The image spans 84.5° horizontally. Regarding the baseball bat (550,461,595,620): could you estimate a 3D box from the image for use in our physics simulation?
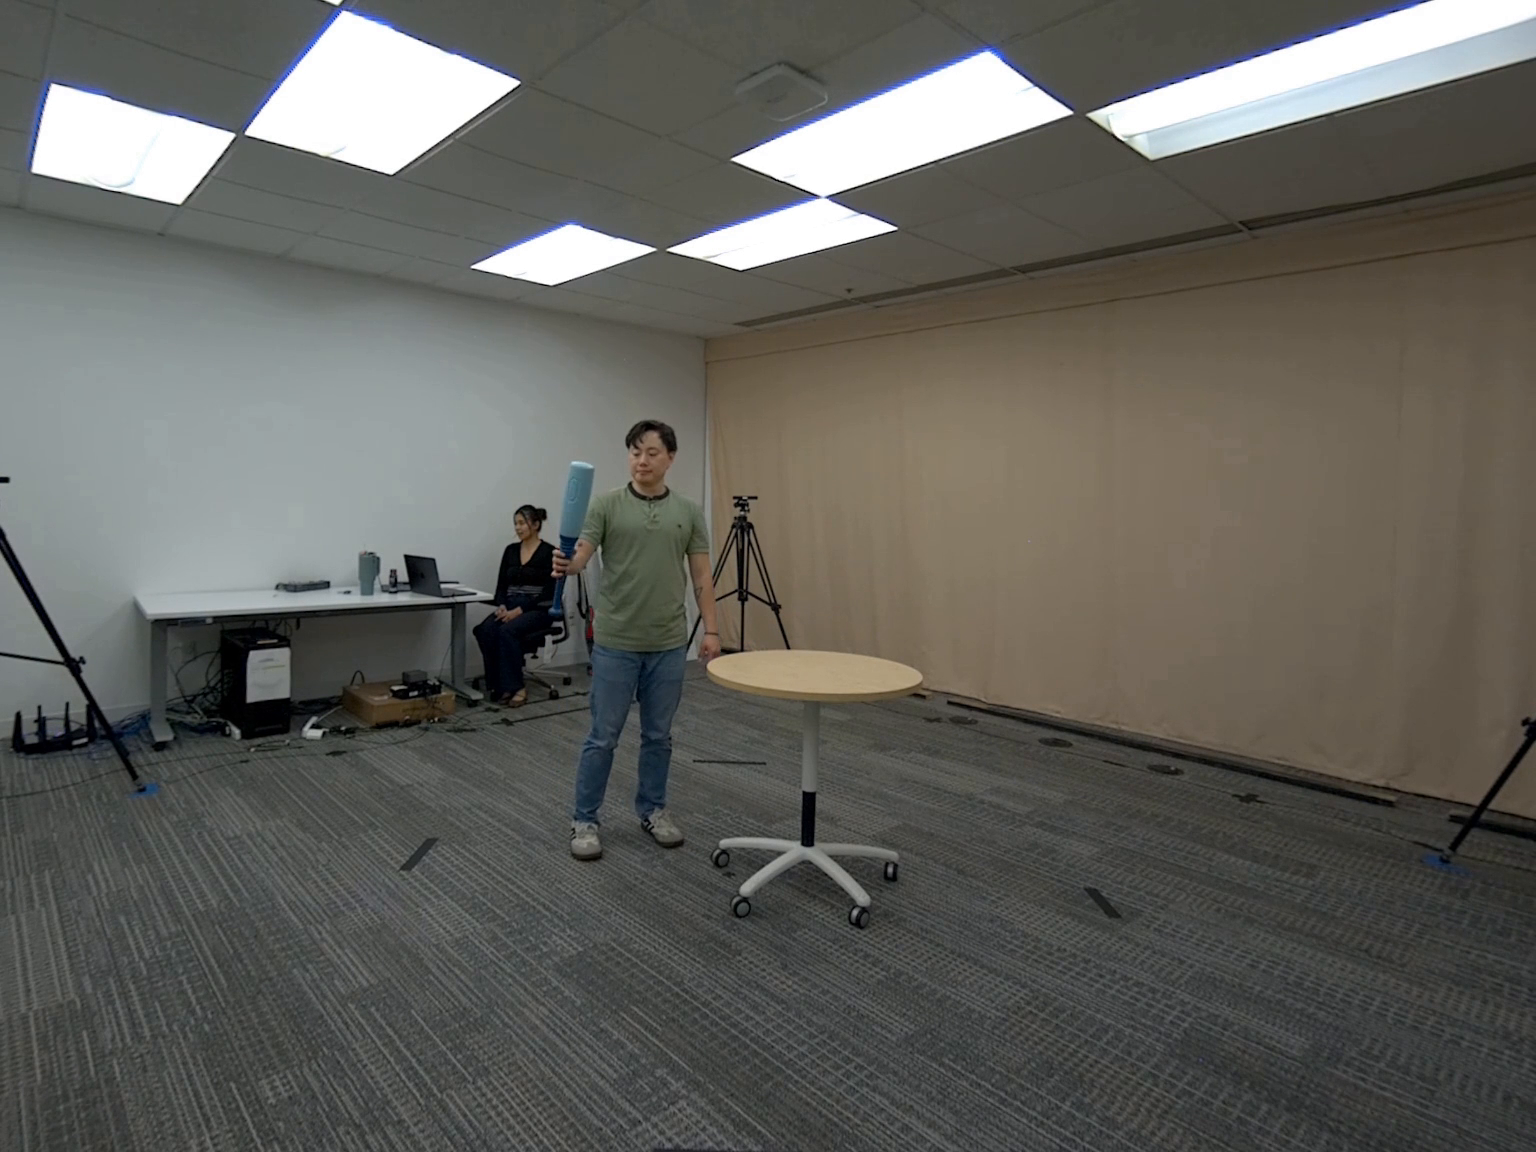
[{"bbox_3d":[-0.690,-0.119,2.851,0.089,0.539,0.090,11,14,-4],"label":"baseball bat"}]
